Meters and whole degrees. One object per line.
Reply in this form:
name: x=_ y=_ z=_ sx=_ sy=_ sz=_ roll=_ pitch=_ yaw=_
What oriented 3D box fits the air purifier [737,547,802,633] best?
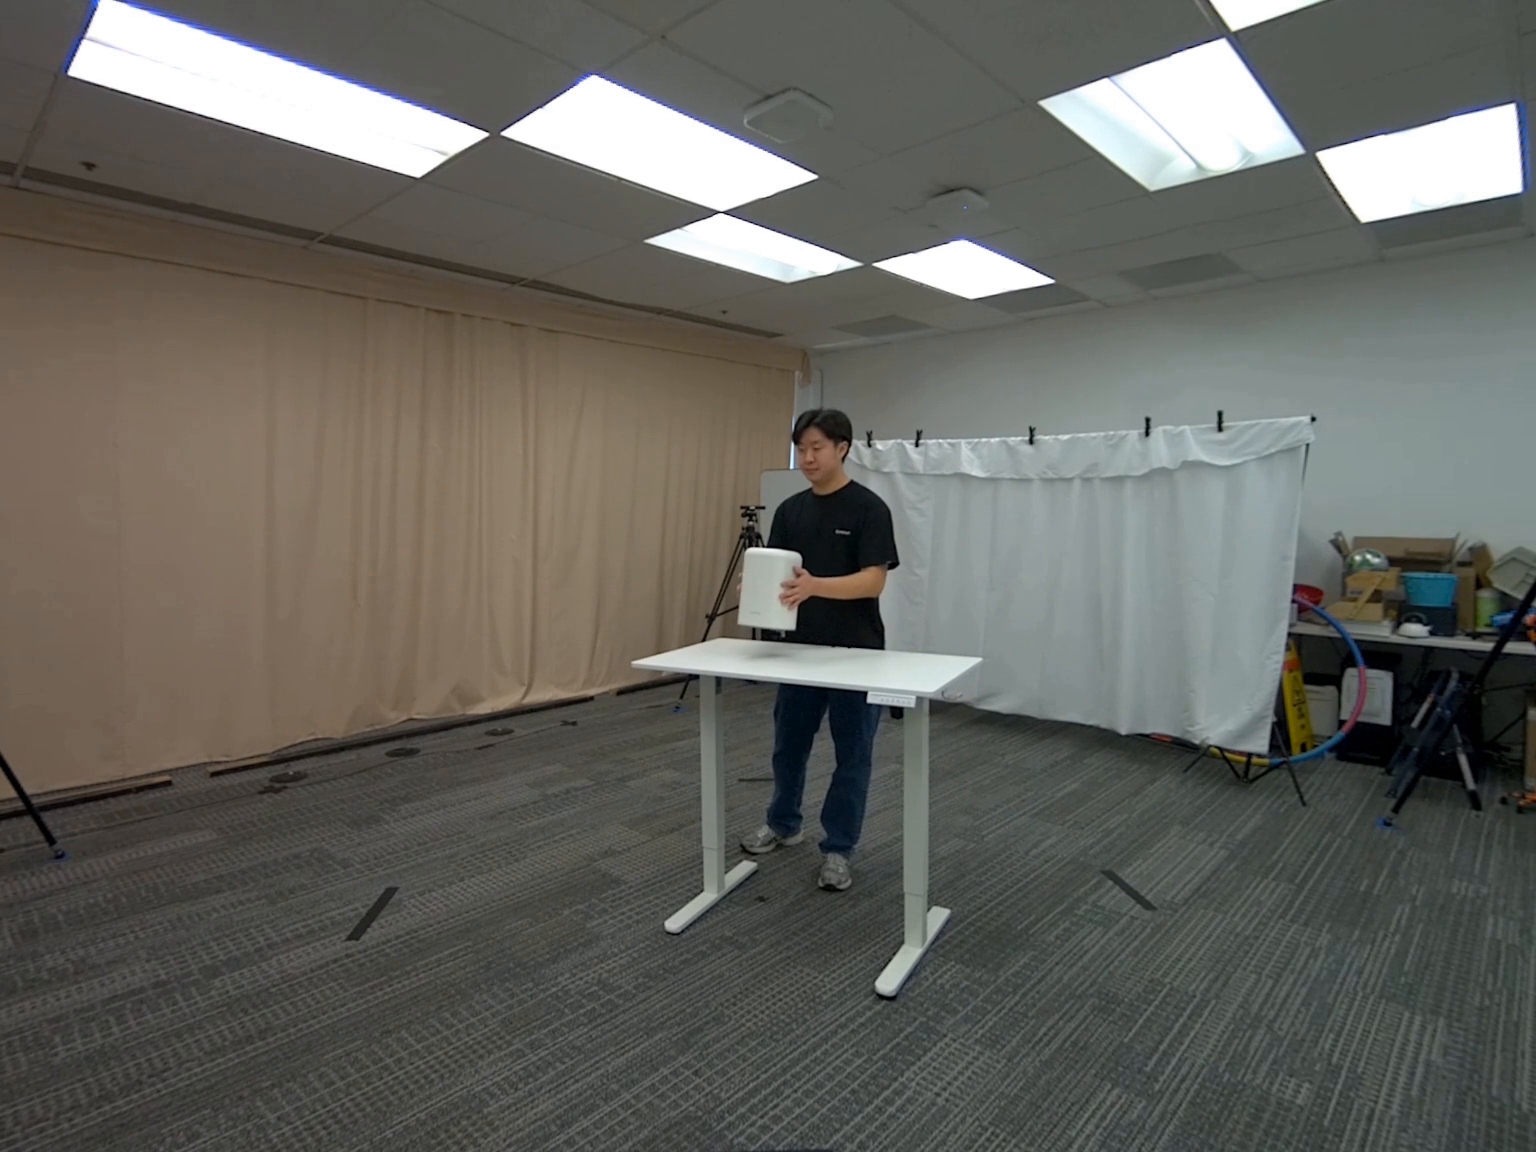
air purifier: x=0.011 y=0.047 z=2.857 sx=0.176 sy=0.265 sz=0.166 roll=5 pitch=-2 yaw=31
